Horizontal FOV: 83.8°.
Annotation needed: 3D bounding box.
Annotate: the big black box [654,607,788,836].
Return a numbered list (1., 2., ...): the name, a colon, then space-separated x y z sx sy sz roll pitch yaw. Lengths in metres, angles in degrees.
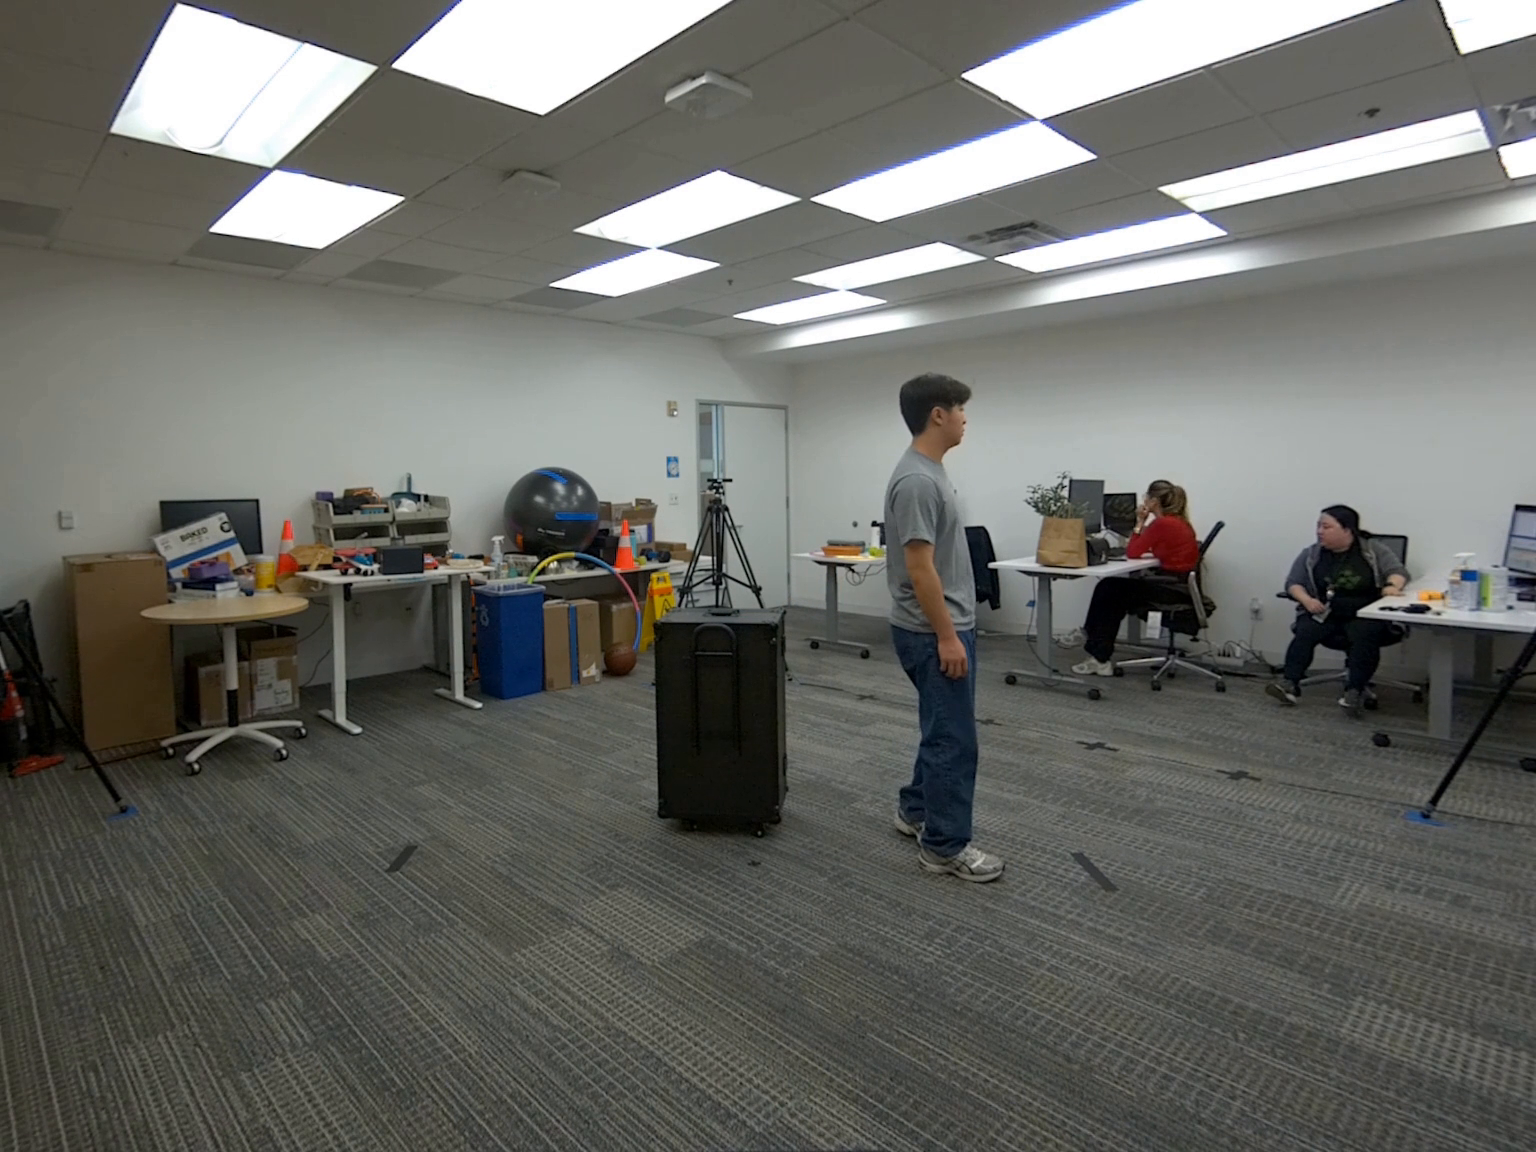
1. big black box: -0.173 0.581 3.471 0.527 0.858 0.394 0 5 10
